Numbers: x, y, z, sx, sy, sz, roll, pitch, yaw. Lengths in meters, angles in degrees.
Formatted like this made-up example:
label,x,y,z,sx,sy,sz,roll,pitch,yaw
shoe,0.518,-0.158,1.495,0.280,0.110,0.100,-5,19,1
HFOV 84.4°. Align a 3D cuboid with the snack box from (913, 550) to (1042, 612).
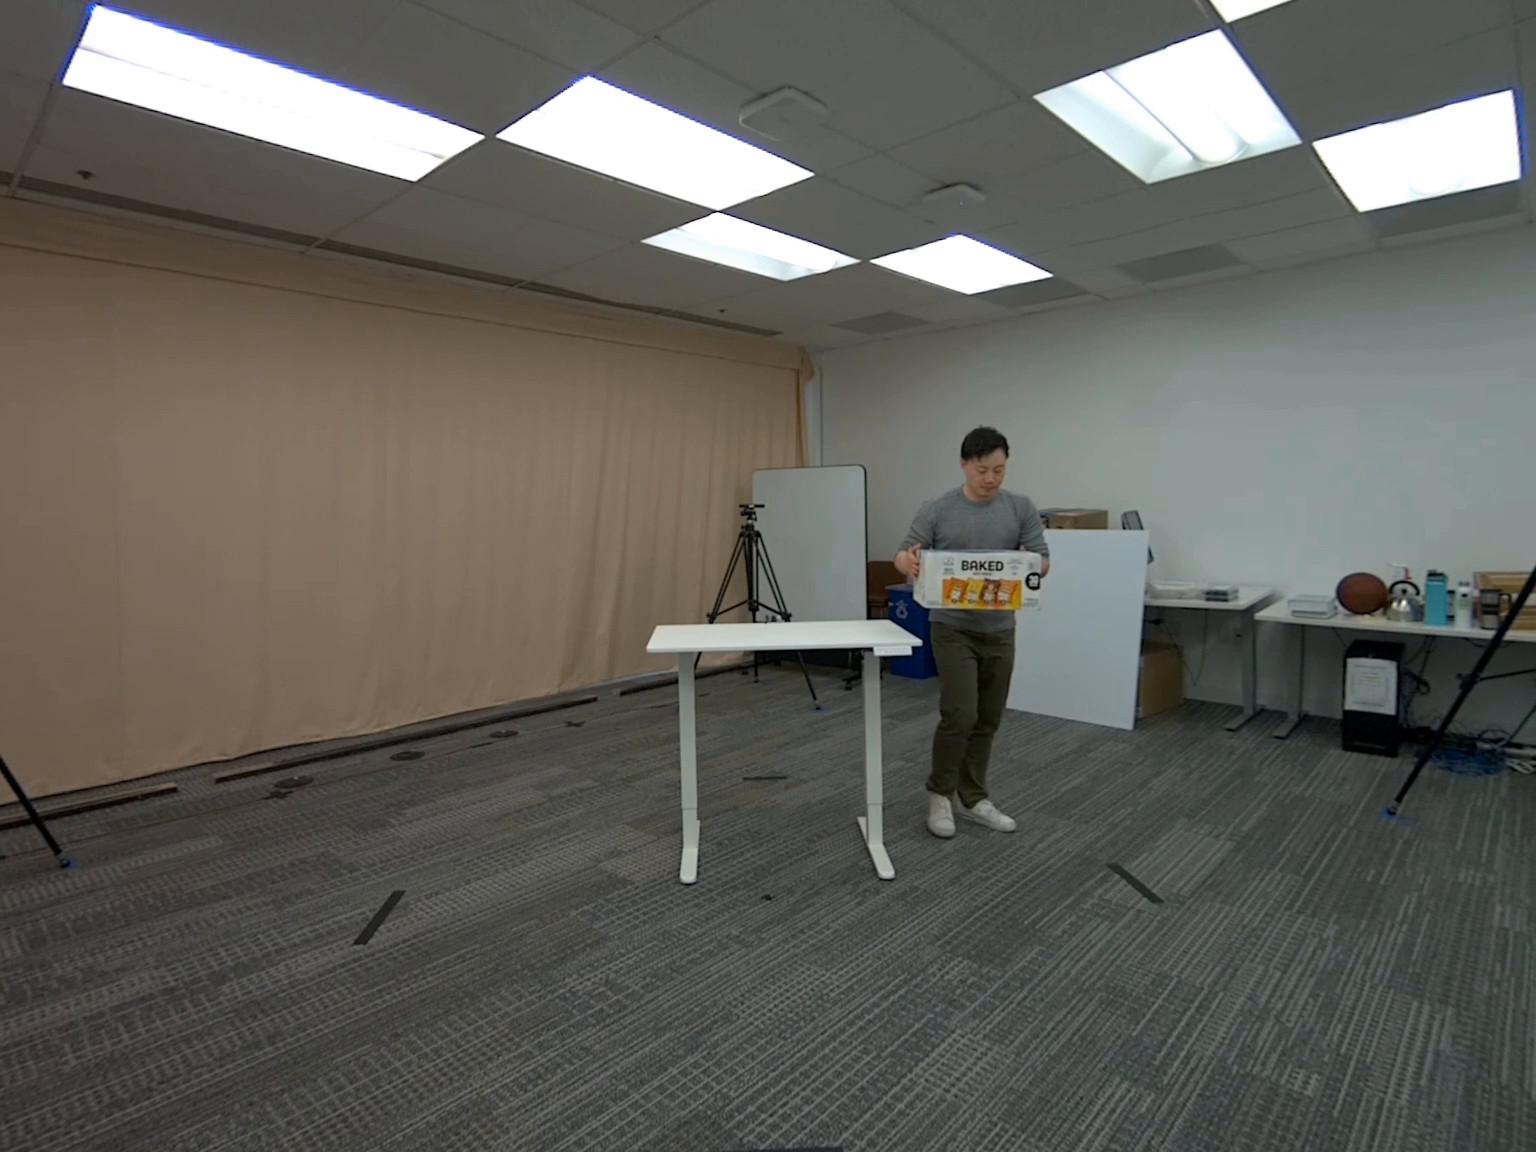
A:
label,x,y,z,sx,sy,sz,roll,pitch,yaw
snack box,0.787,0.016,3.182,0.408,0.205,0.338,1,2,5
